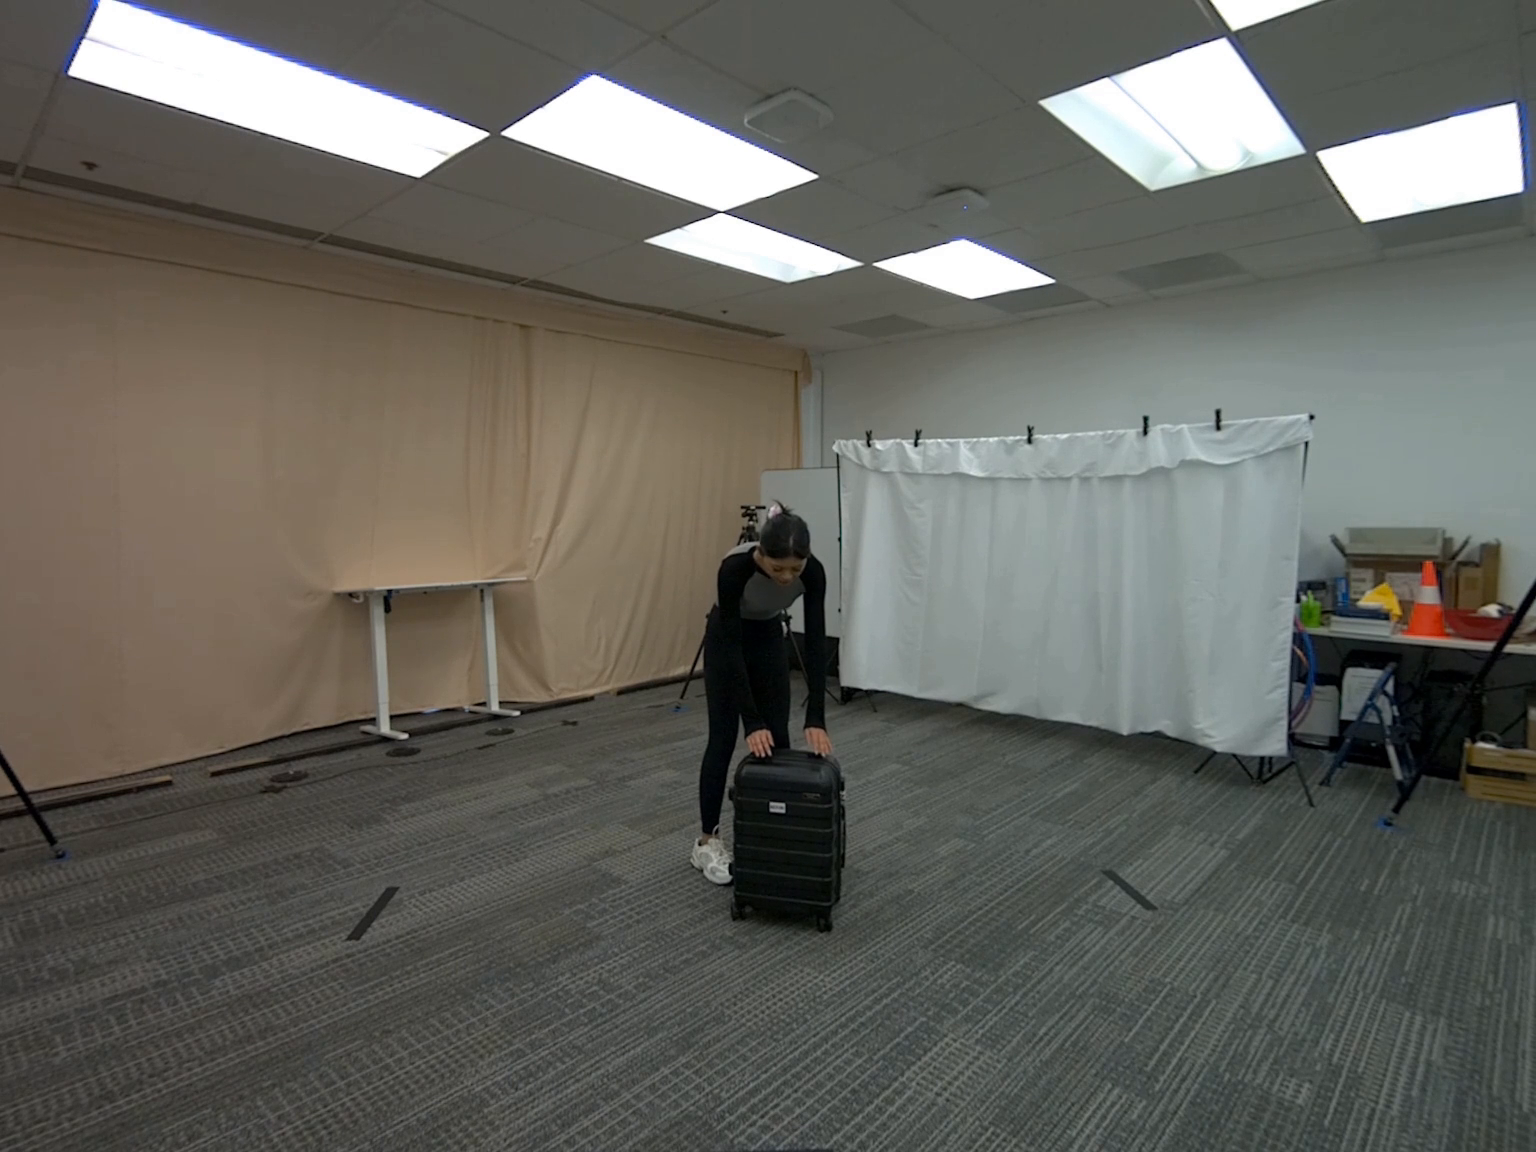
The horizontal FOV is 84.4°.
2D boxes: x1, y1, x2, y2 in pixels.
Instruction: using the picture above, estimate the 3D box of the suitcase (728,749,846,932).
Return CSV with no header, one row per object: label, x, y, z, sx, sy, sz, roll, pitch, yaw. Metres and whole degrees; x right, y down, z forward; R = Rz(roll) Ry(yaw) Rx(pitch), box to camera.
suitcase,0.075,0.878,2.866,0.382,0.548,0.245,1,5,16
